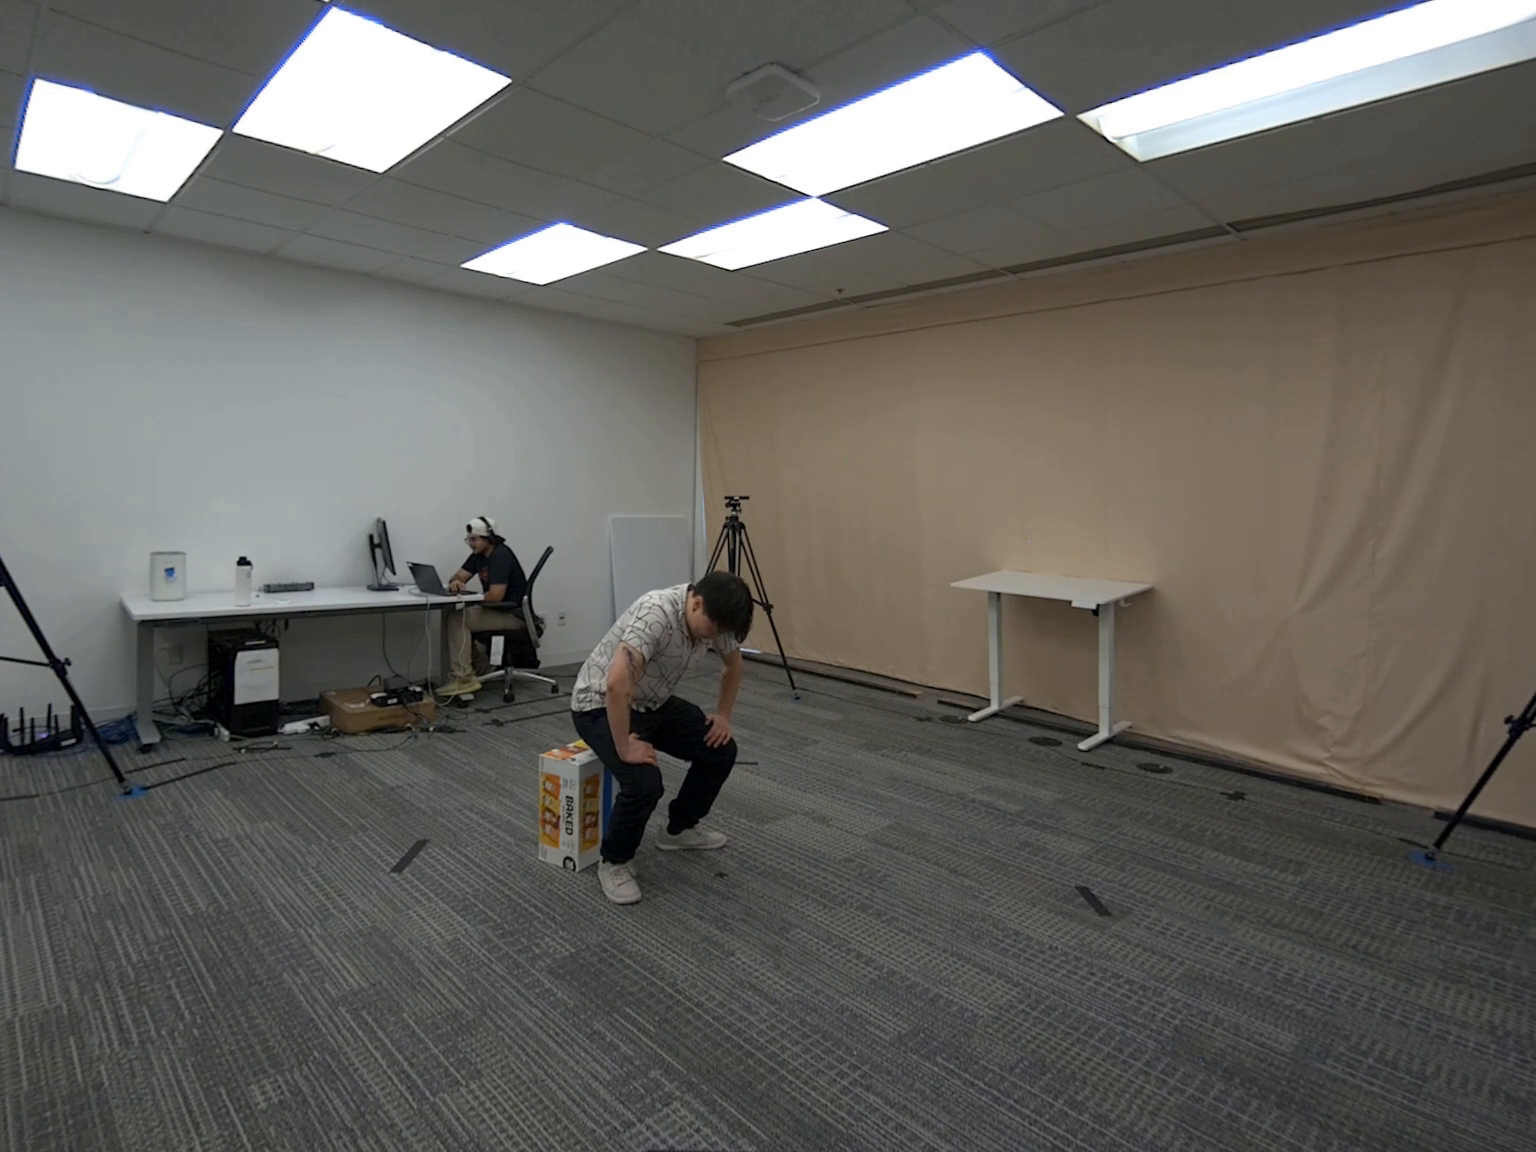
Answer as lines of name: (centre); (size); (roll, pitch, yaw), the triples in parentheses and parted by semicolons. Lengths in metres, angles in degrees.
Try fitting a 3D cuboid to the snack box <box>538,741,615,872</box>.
snack box: (-0.707, 0.872, 3.276); (0.210, 0.404, 0.334); (4, 5, 30)
